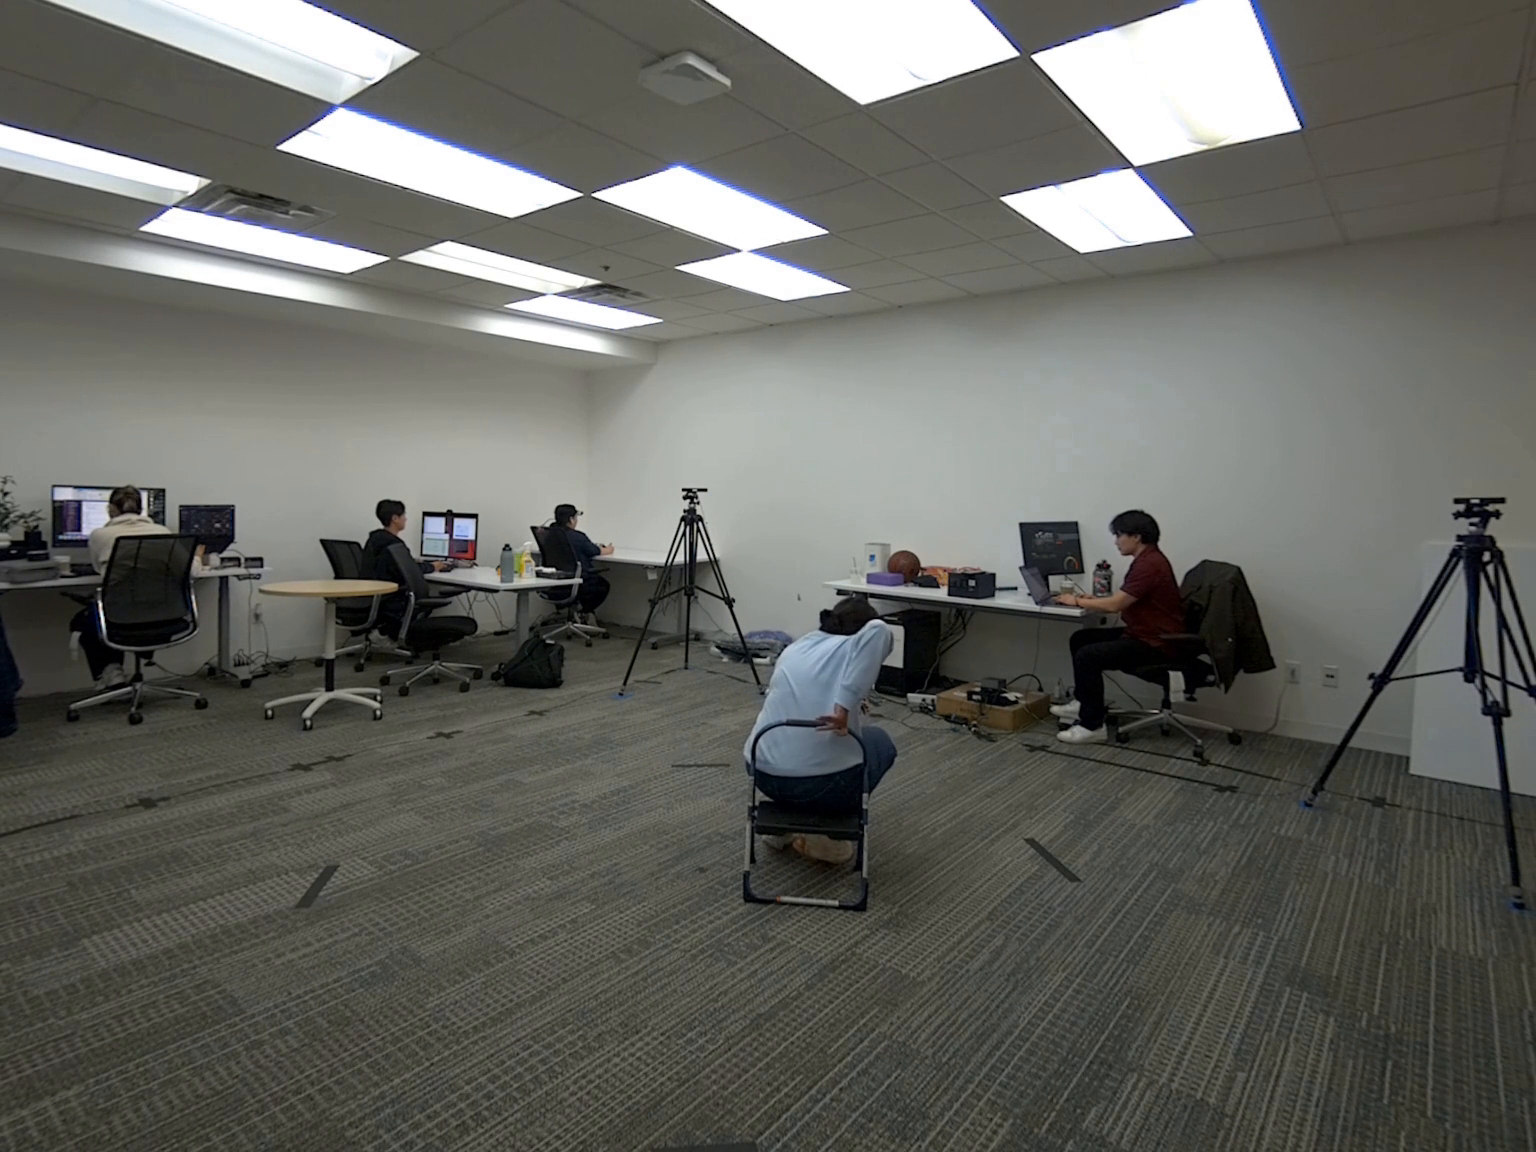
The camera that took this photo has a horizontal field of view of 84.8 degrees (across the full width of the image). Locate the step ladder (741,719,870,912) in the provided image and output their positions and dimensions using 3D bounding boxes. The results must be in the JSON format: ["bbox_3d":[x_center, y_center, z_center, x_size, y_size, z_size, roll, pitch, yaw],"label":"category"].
[{"bbox_3d":[0.125,0.792,2.991,0.432,0.604,0.349,0,3,3],"label":"step ladder"}]
